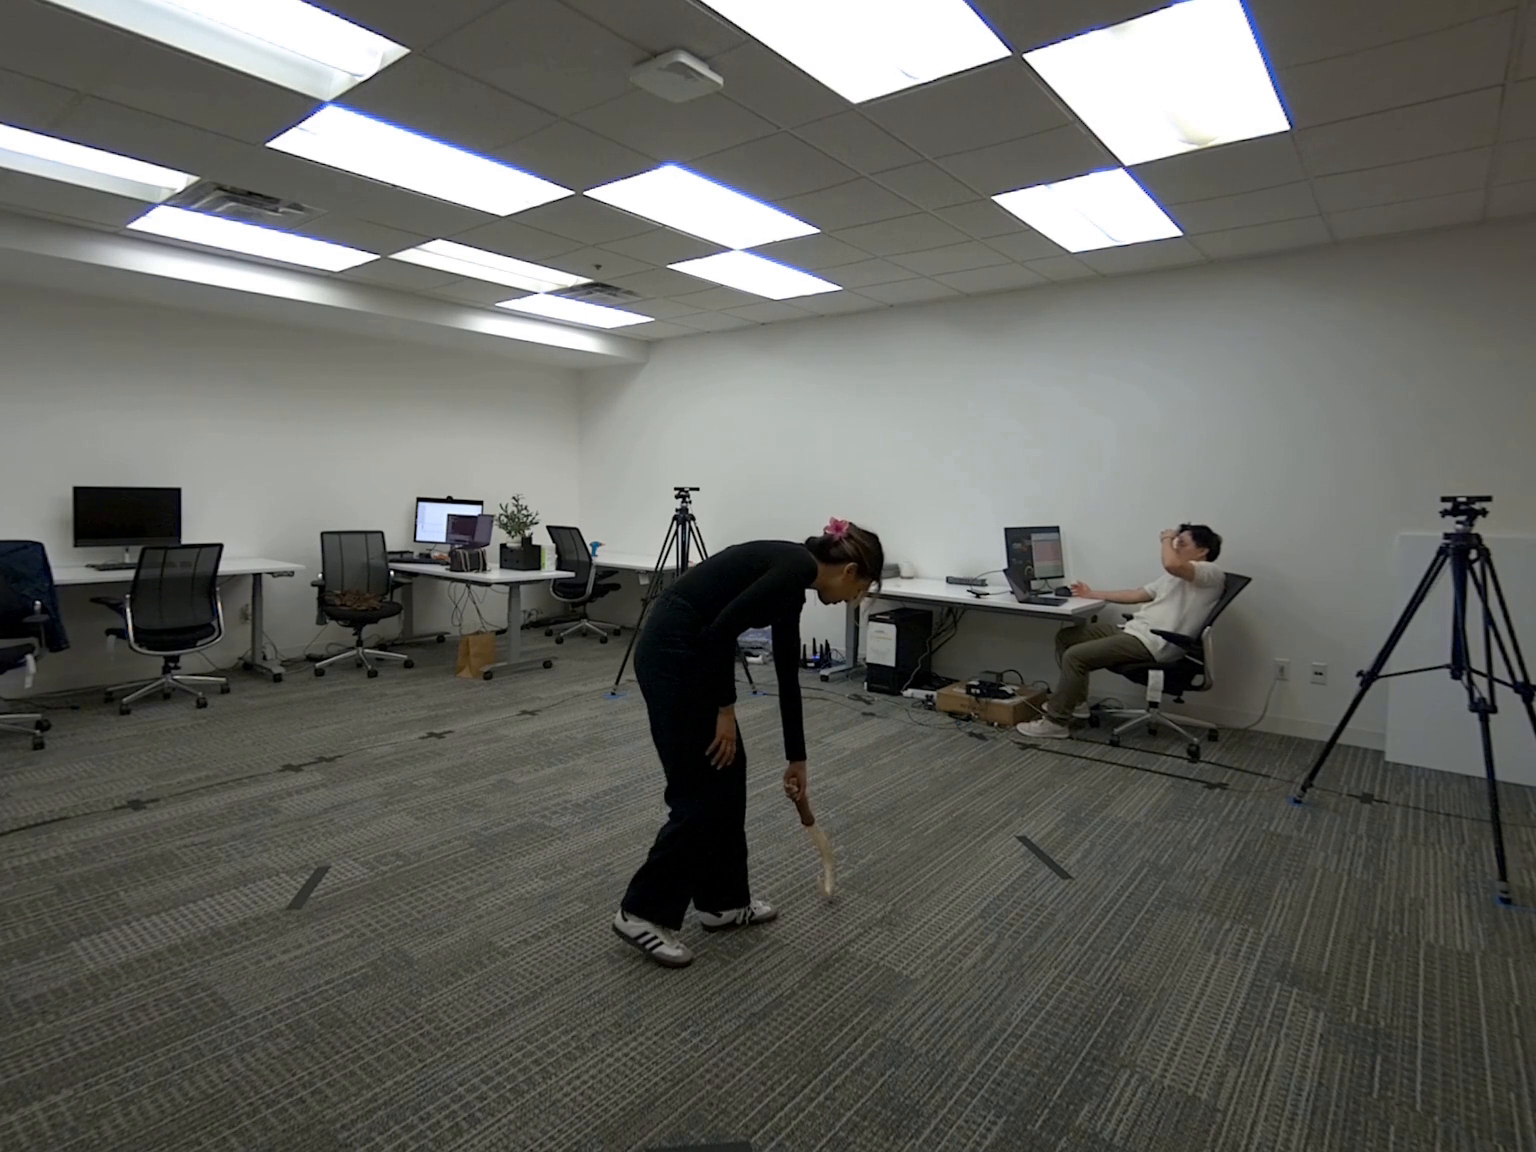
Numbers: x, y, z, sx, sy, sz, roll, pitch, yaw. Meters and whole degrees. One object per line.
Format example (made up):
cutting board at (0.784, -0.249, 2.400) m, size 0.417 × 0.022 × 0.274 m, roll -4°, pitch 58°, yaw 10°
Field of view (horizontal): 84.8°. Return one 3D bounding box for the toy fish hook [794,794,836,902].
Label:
toy fish hook at (0.141, 0.873, 2.794) m, size 0.049 × 0.490 × 0.230 m, roll -17°, pitch 31°, yaw 9°
